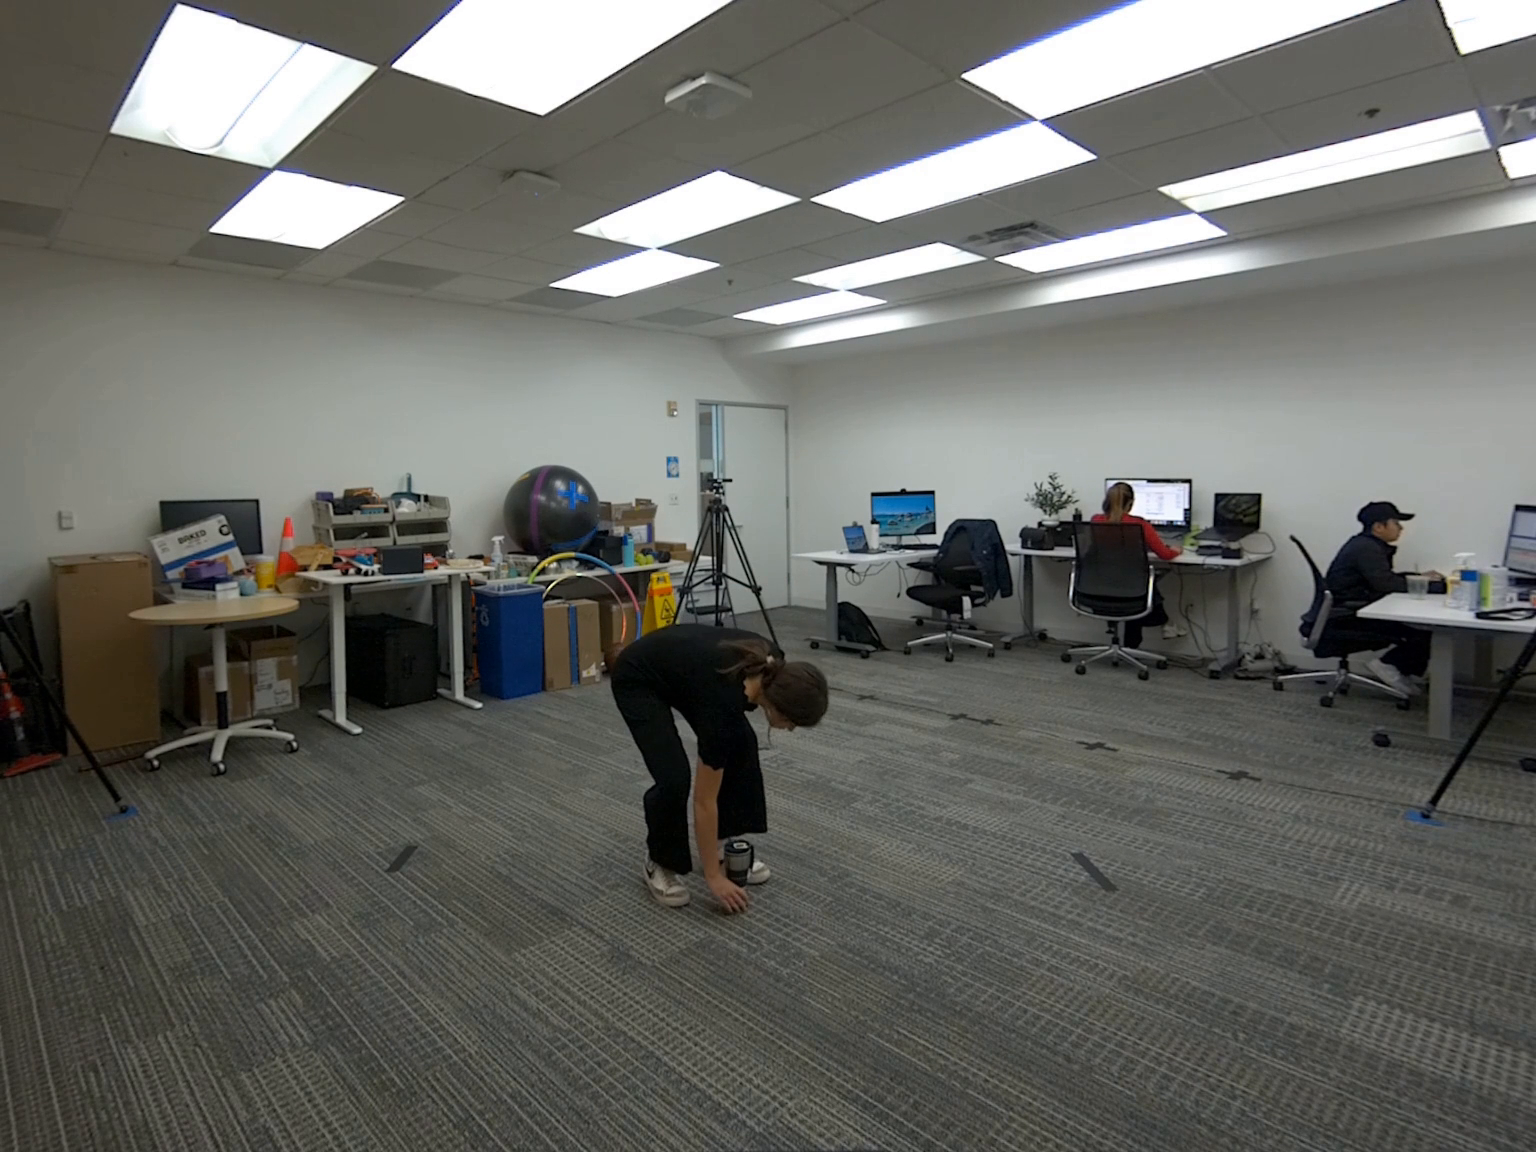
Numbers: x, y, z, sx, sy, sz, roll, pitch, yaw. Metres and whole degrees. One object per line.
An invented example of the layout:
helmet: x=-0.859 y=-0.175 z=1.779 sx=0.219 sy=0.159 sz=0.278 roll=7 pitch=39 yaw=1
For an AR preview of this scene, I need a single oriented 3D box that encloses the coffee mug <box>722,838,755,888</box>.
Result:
coffee mug: x=-0.094 y=0.988 z=2.822 sx=0.119 sy=0.202 sz=0.090 roll=-8 pitch=4 yaw=-30
